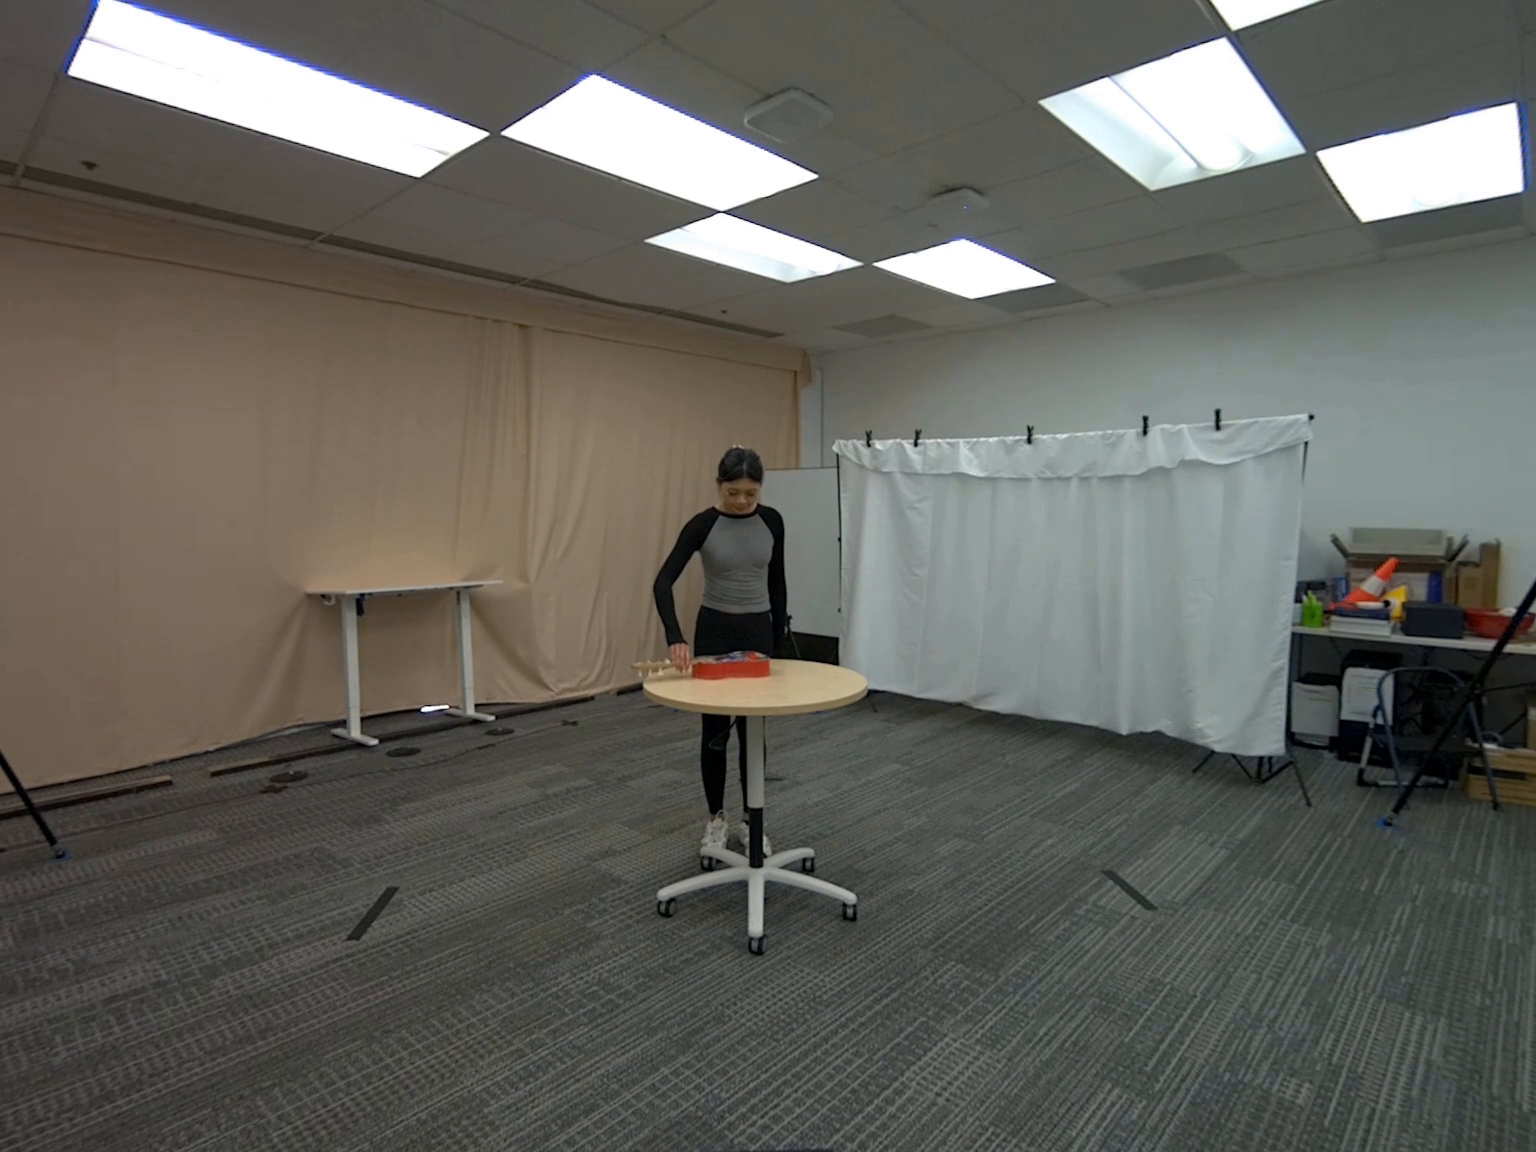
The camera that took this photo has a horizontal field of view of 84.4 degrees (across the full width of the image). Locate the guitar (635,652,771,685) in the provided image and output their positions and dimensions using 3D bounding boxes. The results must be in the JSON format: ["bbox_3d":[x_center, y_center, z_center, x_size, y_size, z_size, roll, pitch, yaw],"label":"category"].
[{"bbox_3d":[-0.250,0.317,2.997,0.492,0.070,0.195,-1,4,-10],"label":"guitar"}]
